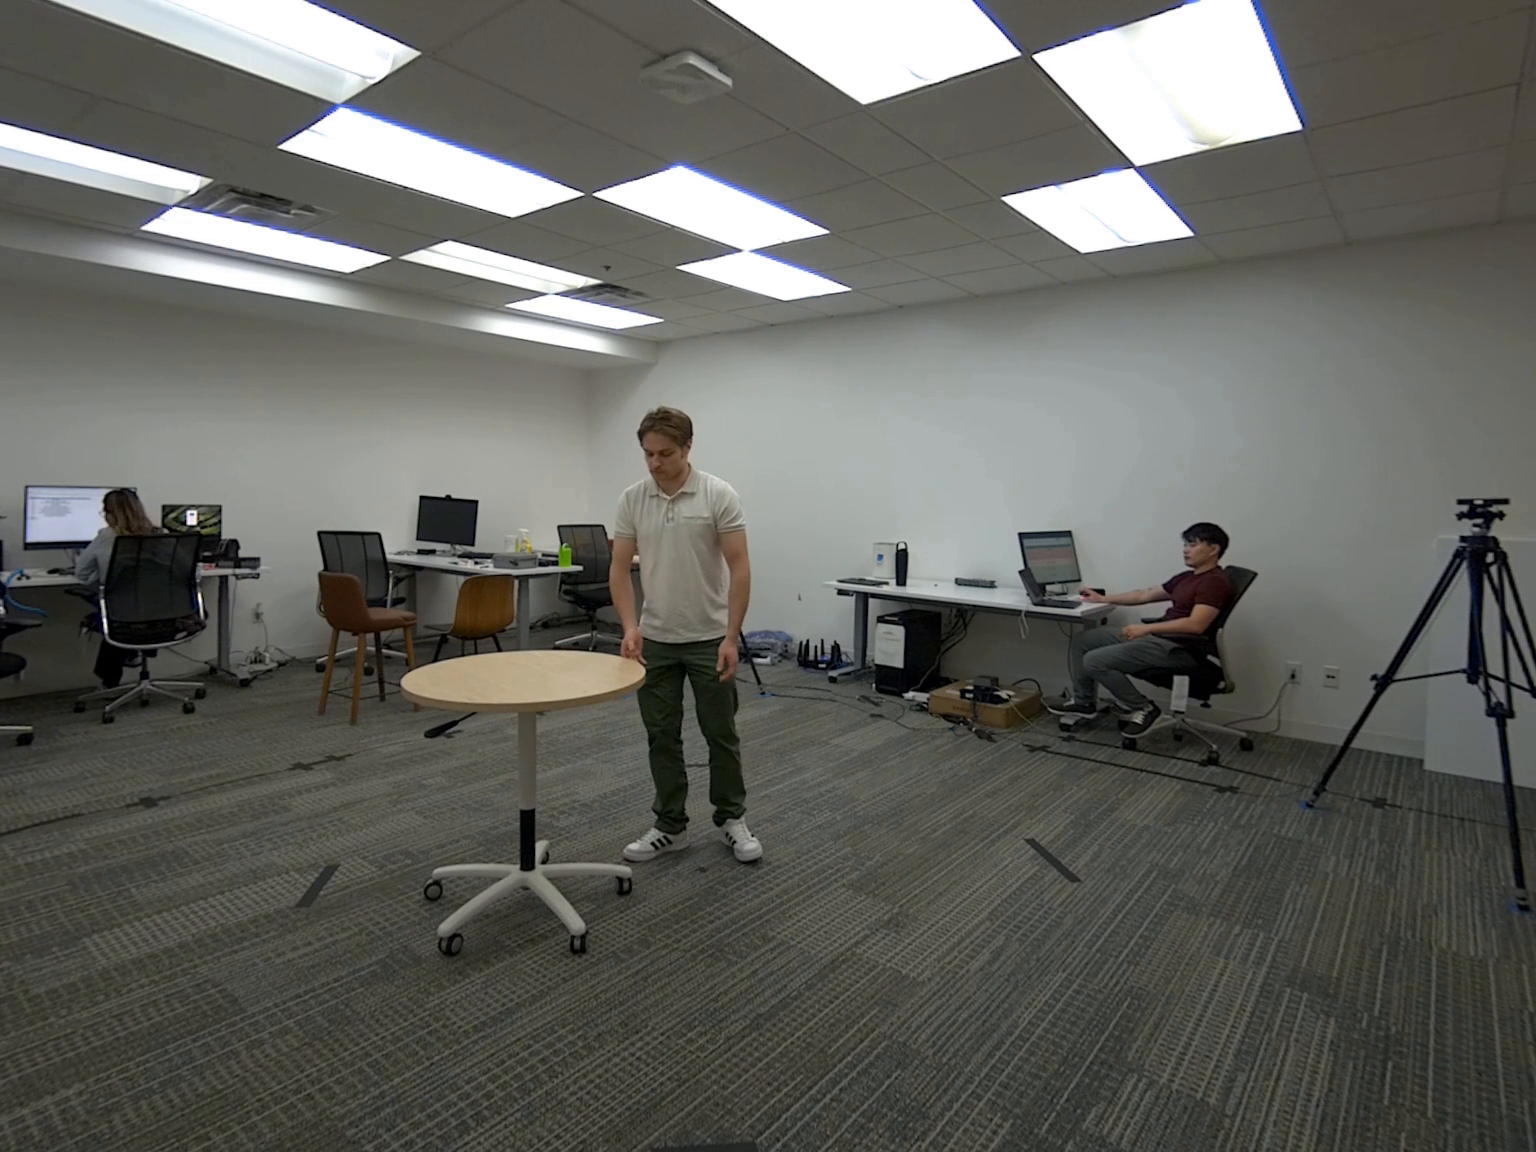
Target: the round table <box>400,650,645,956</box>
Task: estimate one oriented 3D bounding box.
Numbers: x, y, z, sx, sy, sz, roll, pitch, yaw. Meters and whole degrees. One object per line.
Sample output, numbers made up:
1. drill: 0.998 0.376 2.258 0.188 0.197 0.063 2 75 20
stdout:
1. round table: -0.796 0.708 2.758 0.763 0.791 0.768 0 5 -2
